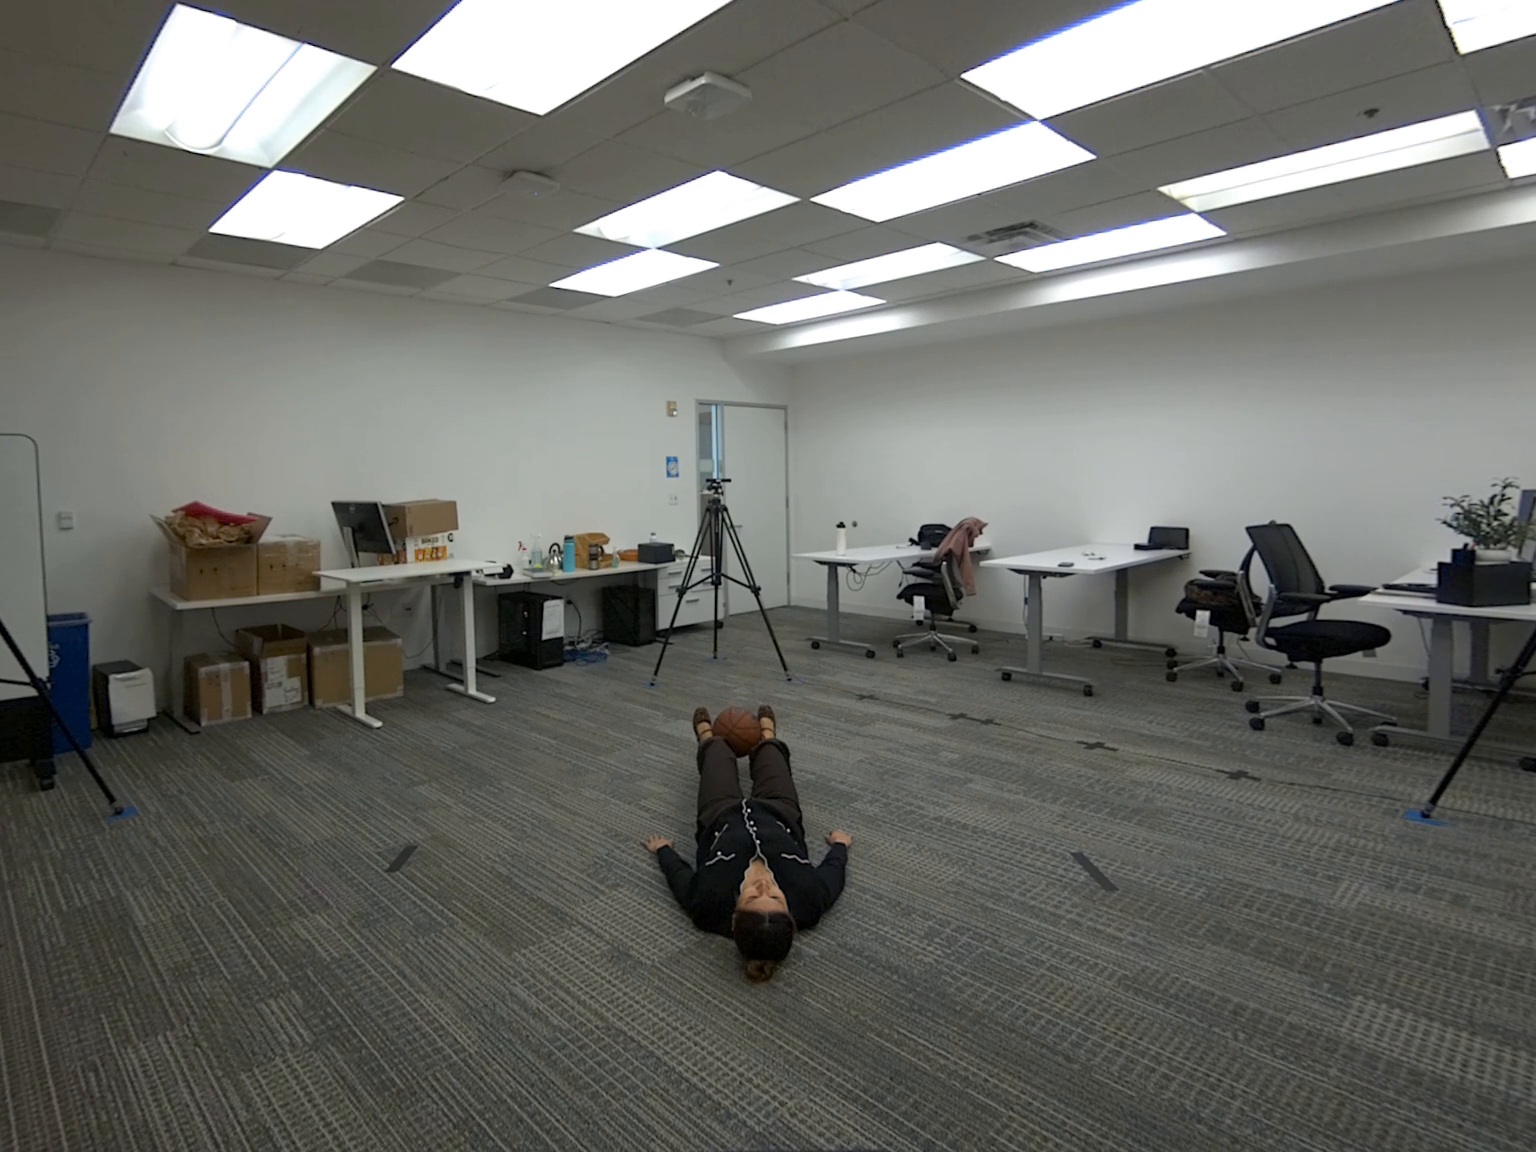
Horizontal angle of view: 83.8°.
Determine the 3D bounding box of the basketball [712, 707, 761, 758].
[{"bbox_3d":[-0.147,0.740,4.060,0.236,0.235,0.237,-4,4,-1],"label":"basketball"}]
